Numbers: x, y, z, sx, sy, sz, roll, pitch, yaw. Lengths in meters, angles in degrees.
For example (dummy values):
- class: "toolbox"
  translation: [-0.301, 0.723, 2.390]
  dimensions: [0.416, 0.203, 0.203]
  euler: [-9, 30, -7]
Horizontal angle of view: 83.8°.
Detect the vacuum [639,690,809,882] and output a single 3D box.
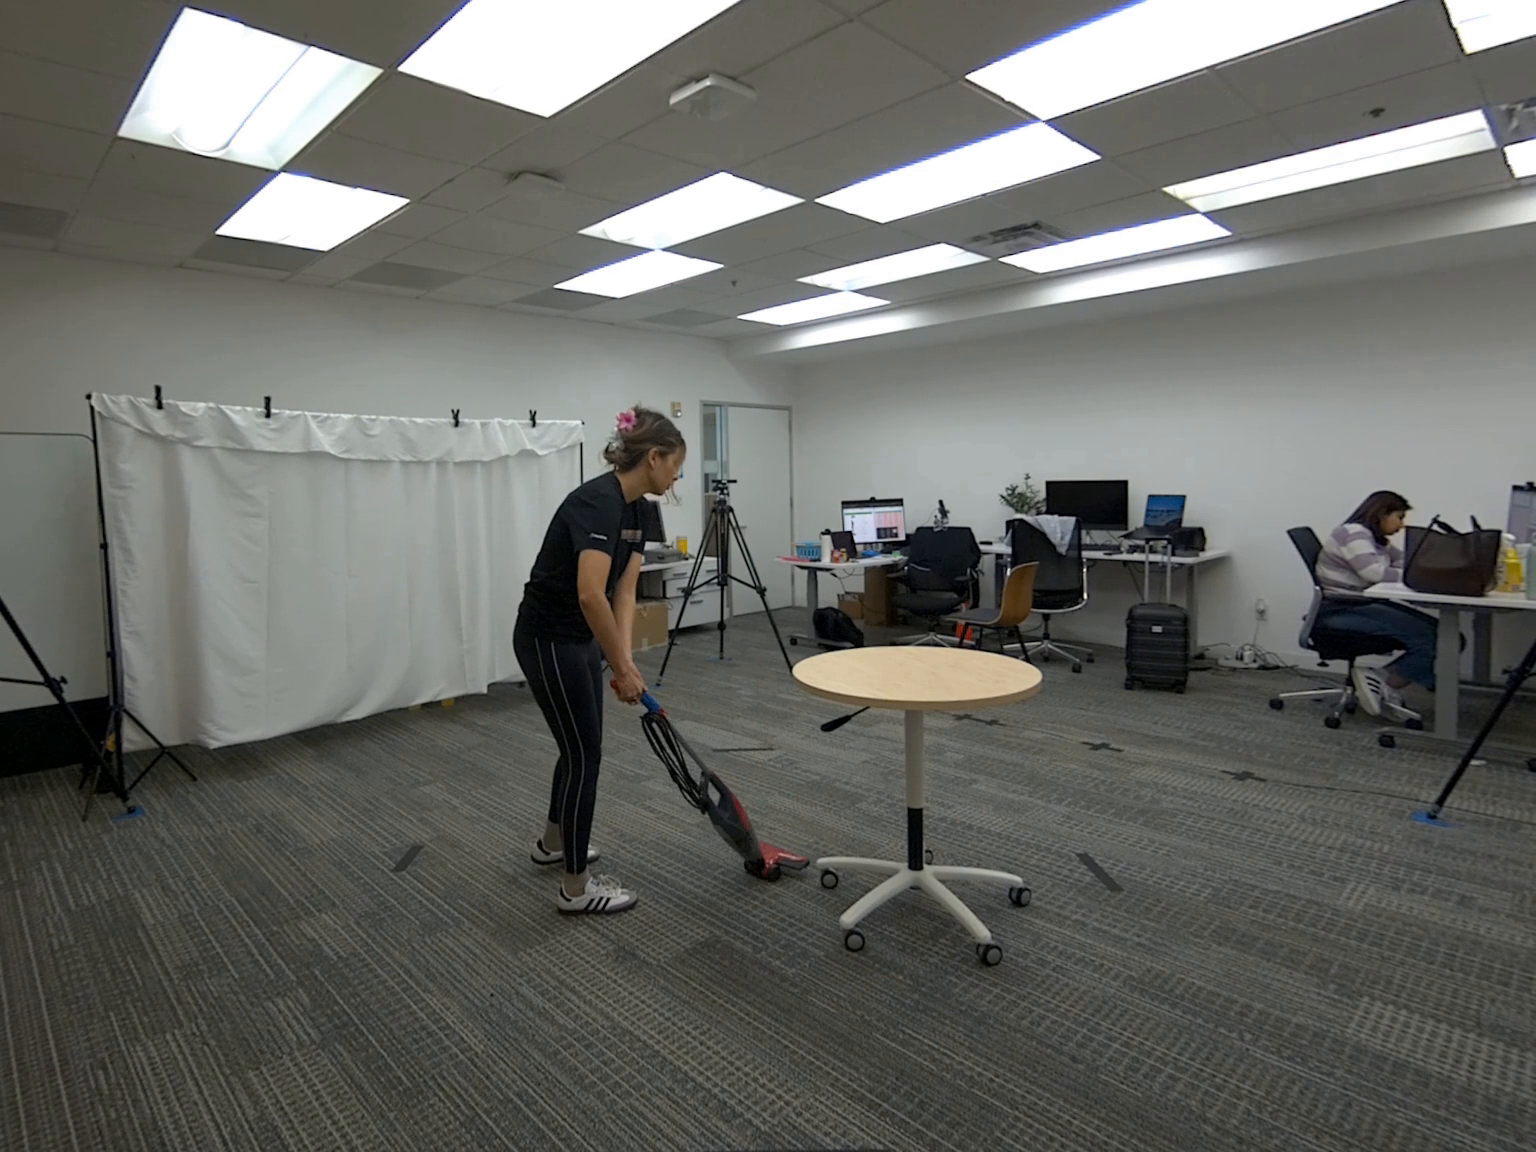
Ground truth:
- class: "vacuum"
  translation: [-0.213, 0.674, 2.791]
  dimensions: [0.260, 1.013, 0.145]
  euler: [1, 46, 40]
